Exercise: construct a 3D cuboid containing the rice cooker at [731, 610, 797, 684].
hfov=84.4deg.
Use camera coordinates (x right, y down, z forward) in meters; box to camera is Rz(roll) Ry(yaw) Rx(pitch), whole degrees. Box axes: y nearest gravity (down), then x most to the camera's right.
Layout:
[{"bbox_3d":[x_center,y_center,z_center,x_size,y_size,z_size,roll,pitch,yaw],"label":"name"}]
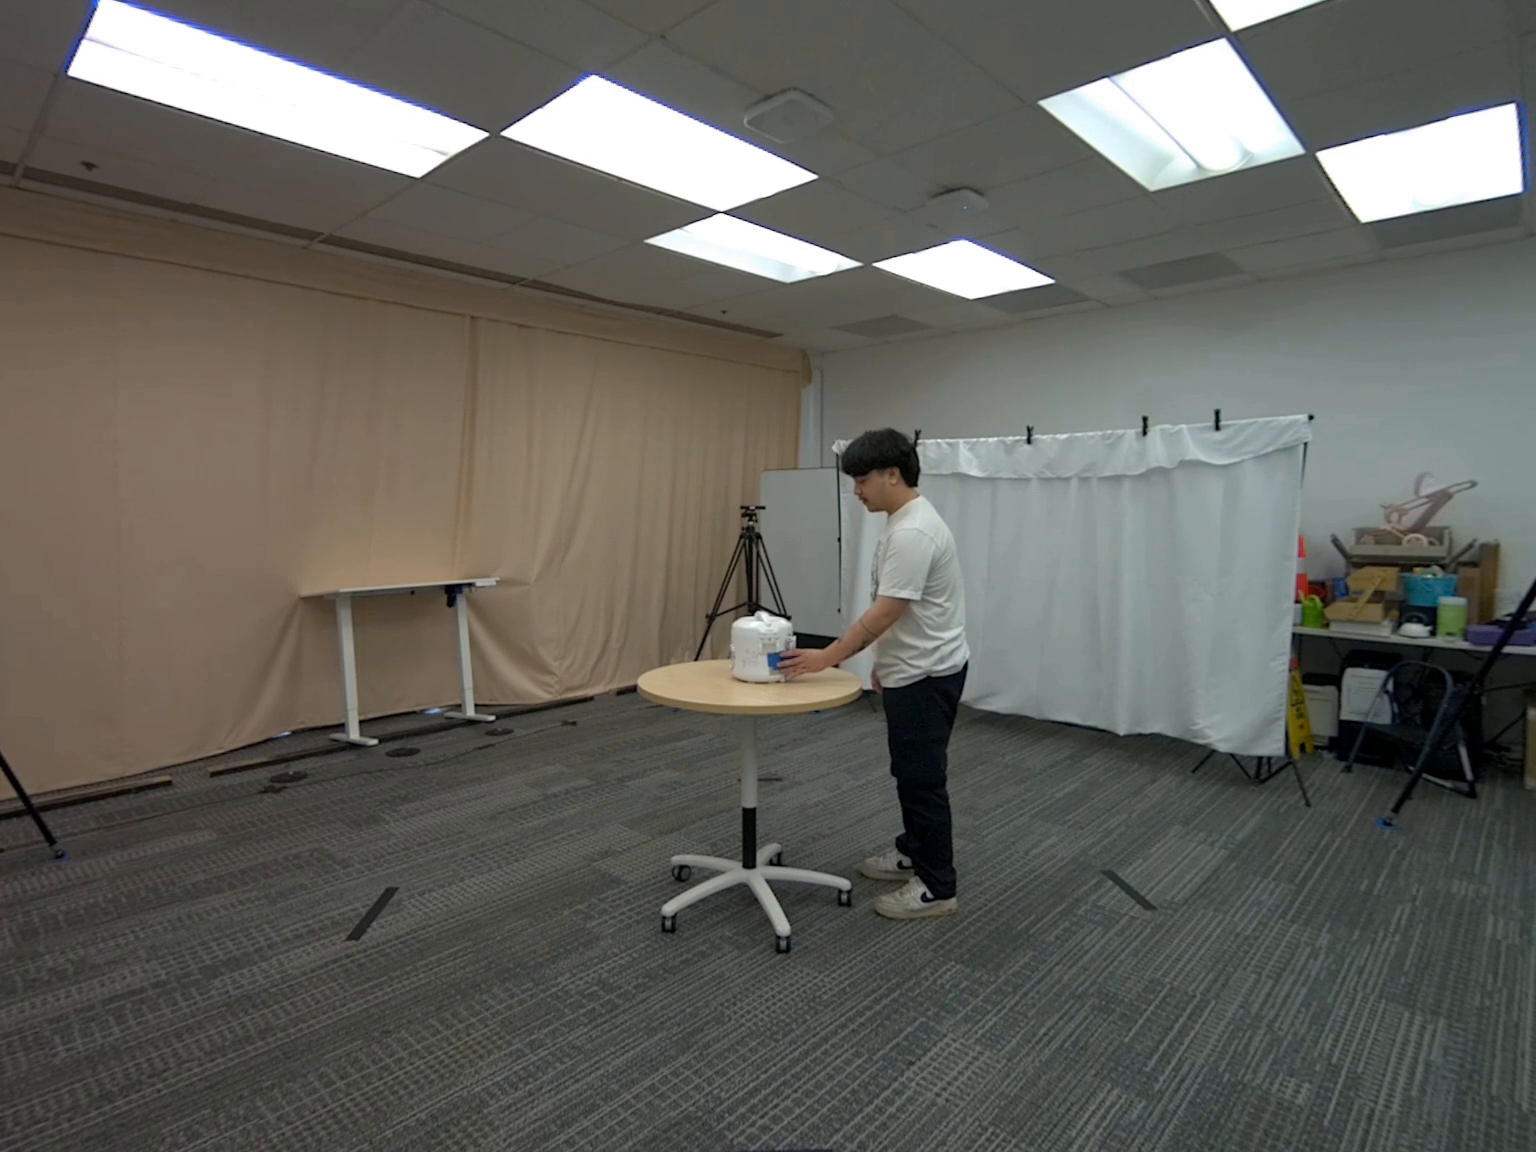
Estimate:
[{"bbox_3d":[-0.019,0.239,2.899,0.215,0.232,0.224,-1,4,-12],"label":"rice cooker"}]
